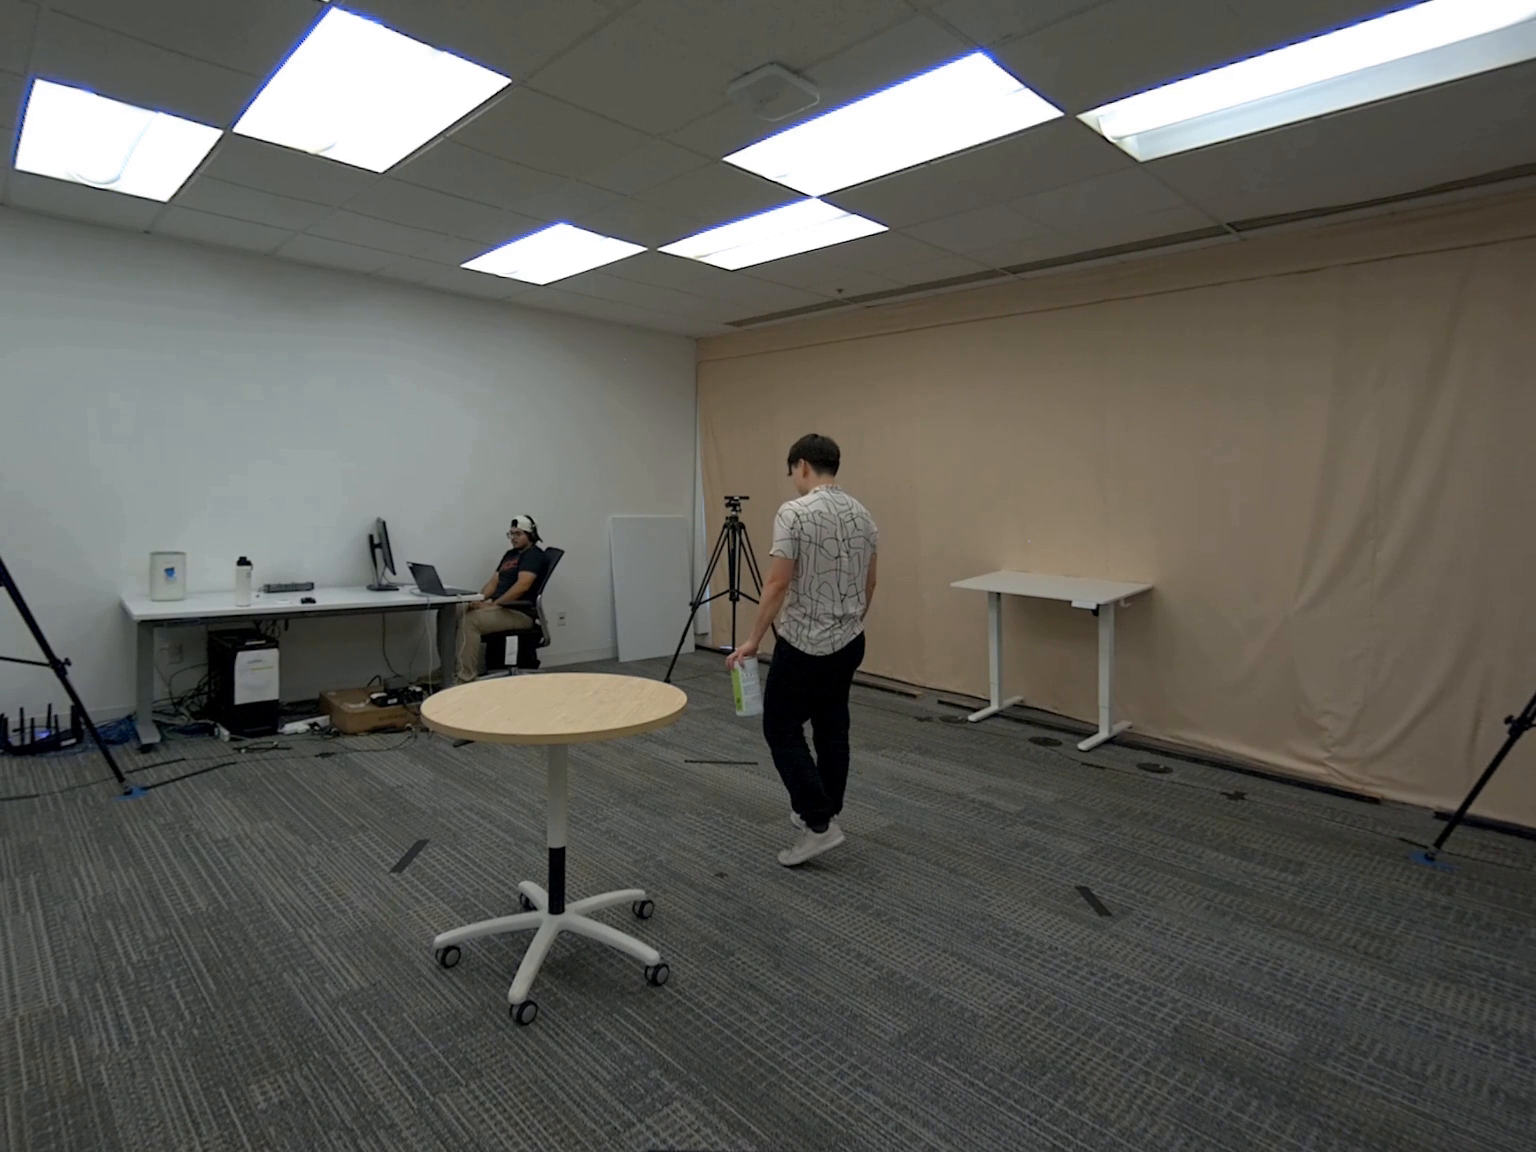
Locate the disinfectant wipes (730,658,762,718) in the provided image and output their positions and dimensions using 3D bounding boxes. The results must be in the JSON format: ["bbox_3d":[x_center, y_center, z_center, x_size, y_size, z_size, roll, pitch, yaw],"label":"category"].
[{"bbox_3d":[-0.083,0.427,3.262,0.118,0.217,0.118,-4,1,-1],"label":"disinfectant wipes"}]
